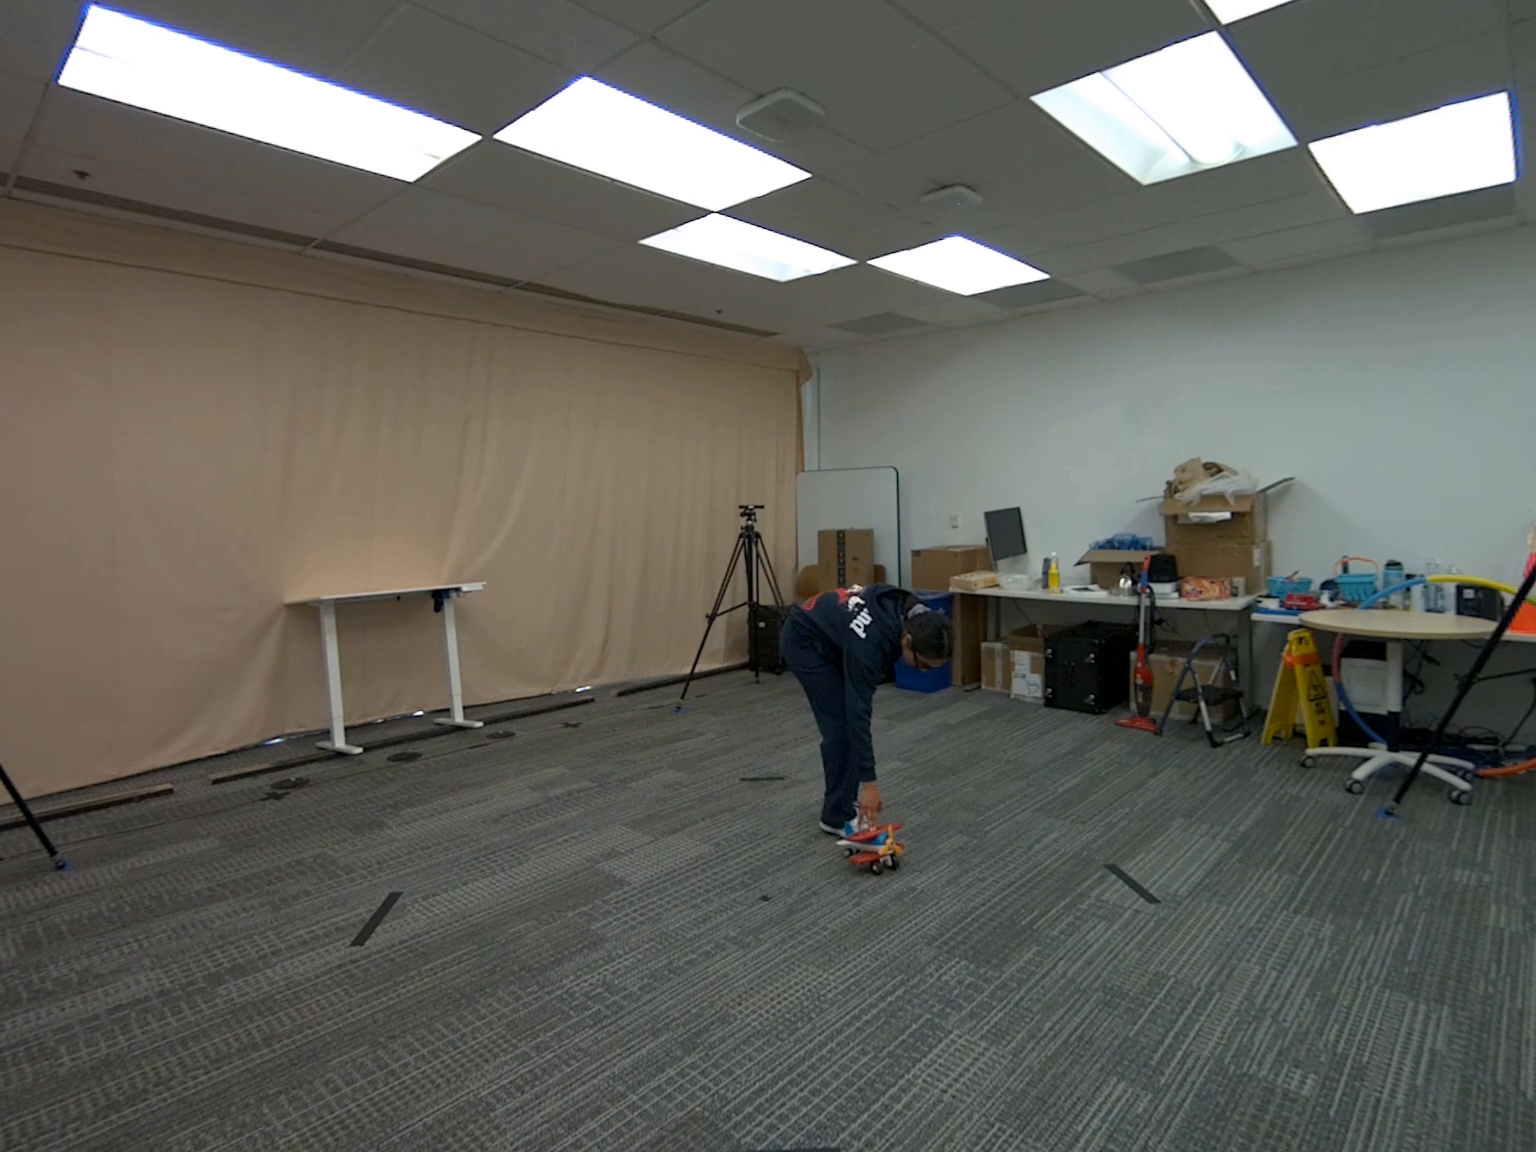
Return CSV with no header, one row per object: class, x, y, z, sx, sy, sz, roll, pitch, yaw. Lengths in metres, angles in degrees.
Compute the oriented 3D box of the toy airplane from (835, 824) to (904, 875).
toy airplane,0.379,1.035,3.236,0.266,0.156,0.245,4,5,25
